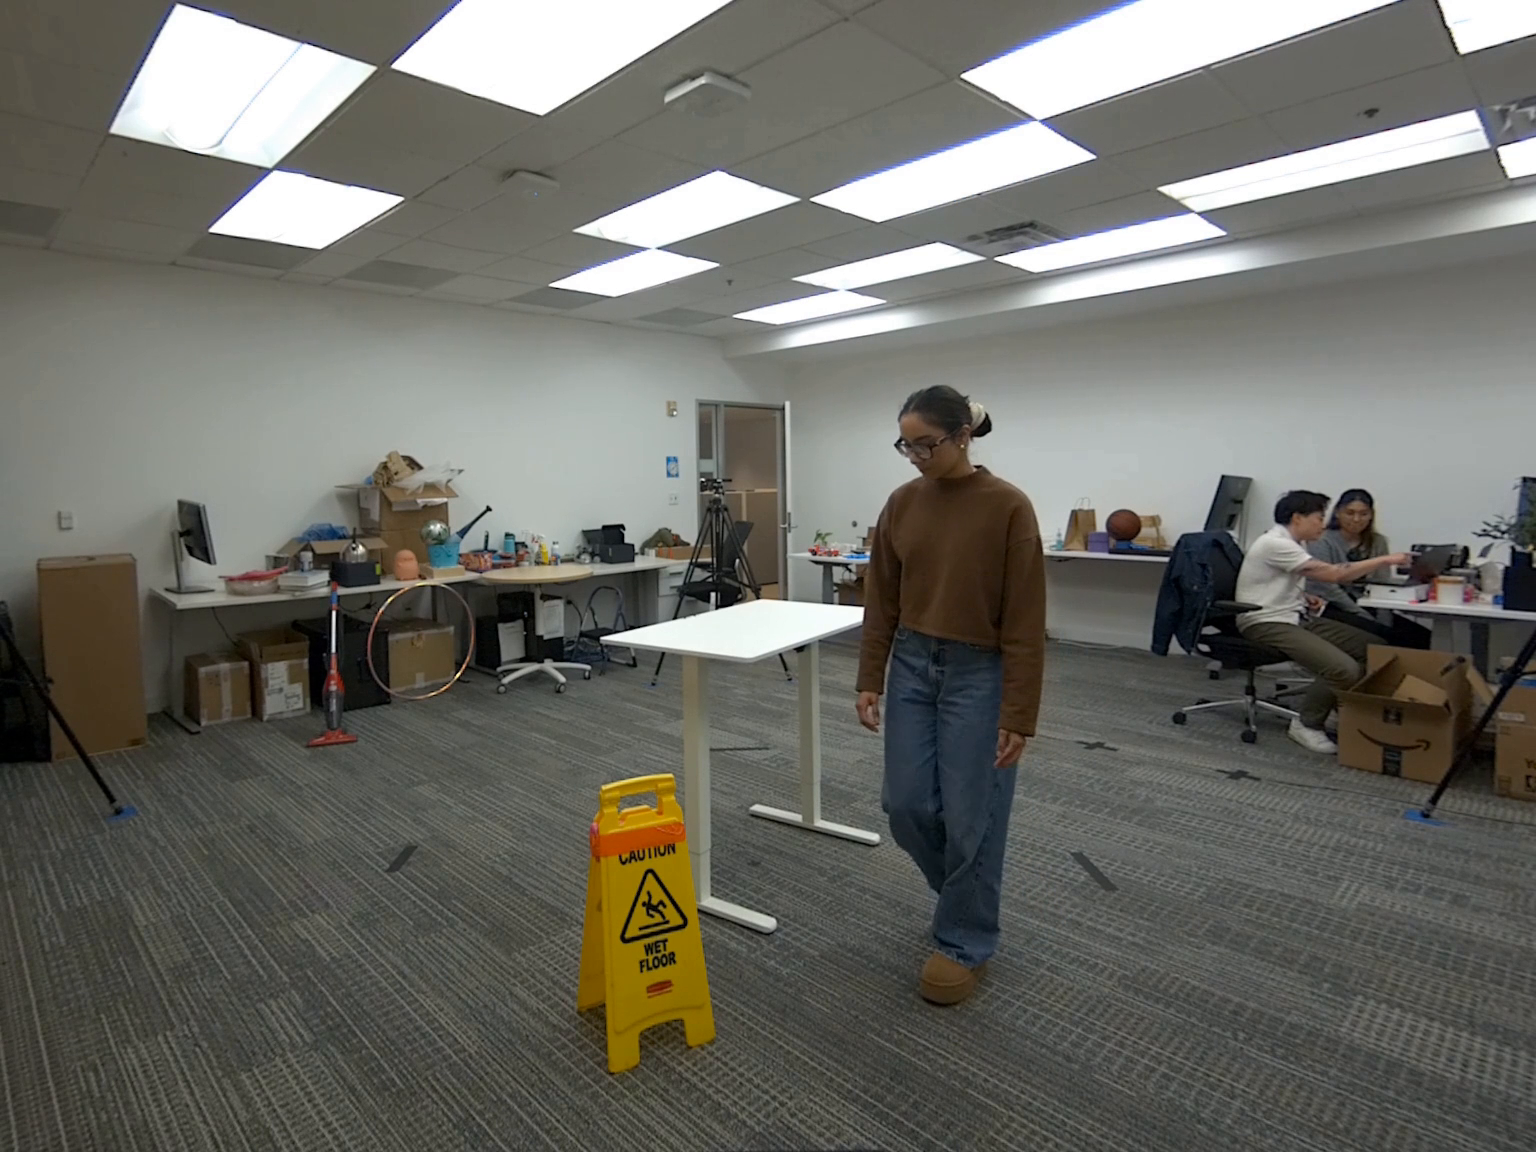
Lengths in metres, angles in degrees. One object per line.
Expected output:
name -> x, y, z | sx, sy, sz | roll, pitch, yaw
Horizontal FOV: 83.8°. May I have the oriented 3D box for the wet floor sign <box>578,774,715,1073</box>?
wet floor sign -> -0.316, 0.840, 2.170 | 0.276, 0.643, 0.297 | -3, 5, -27
